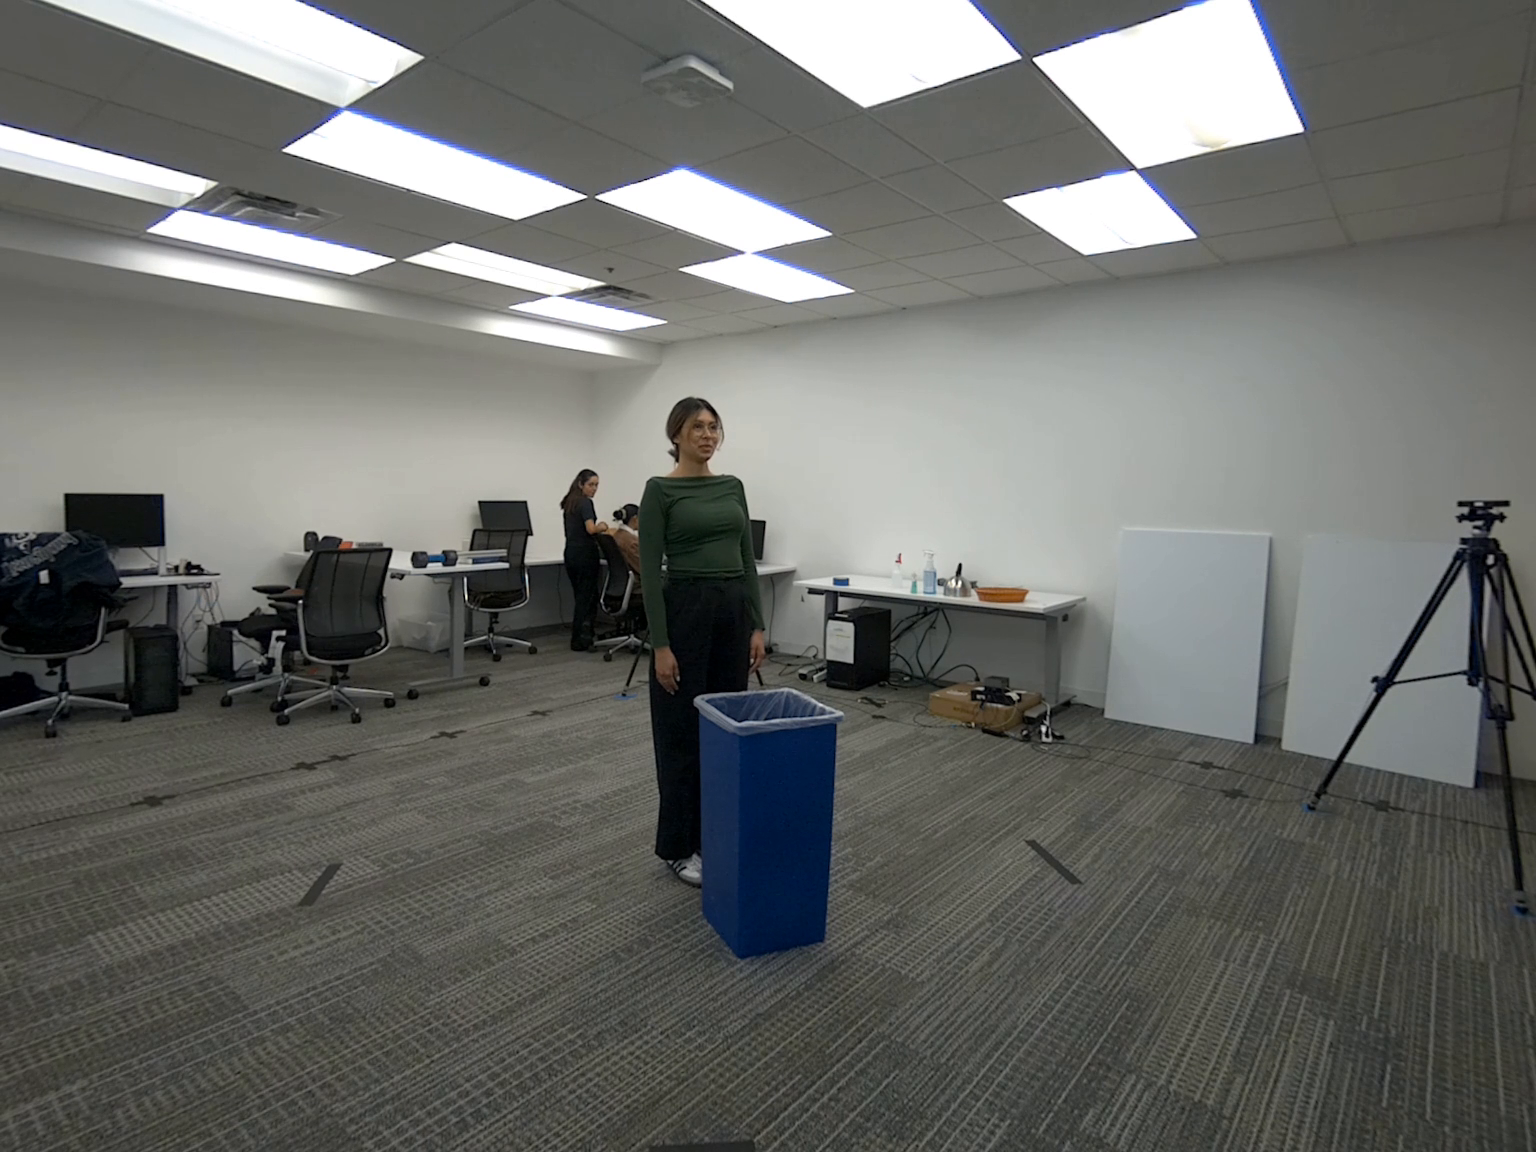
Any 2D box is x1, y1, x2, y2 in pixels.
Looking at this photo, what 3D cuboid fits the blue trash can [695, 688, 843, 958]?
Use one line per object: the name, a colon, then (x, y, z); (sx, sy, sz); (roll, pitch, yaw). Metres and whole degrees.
blue trash can: (-0.013, 0.759, 2.695); (0.369, 0.712, 0.384); (-1, 3, -26)
